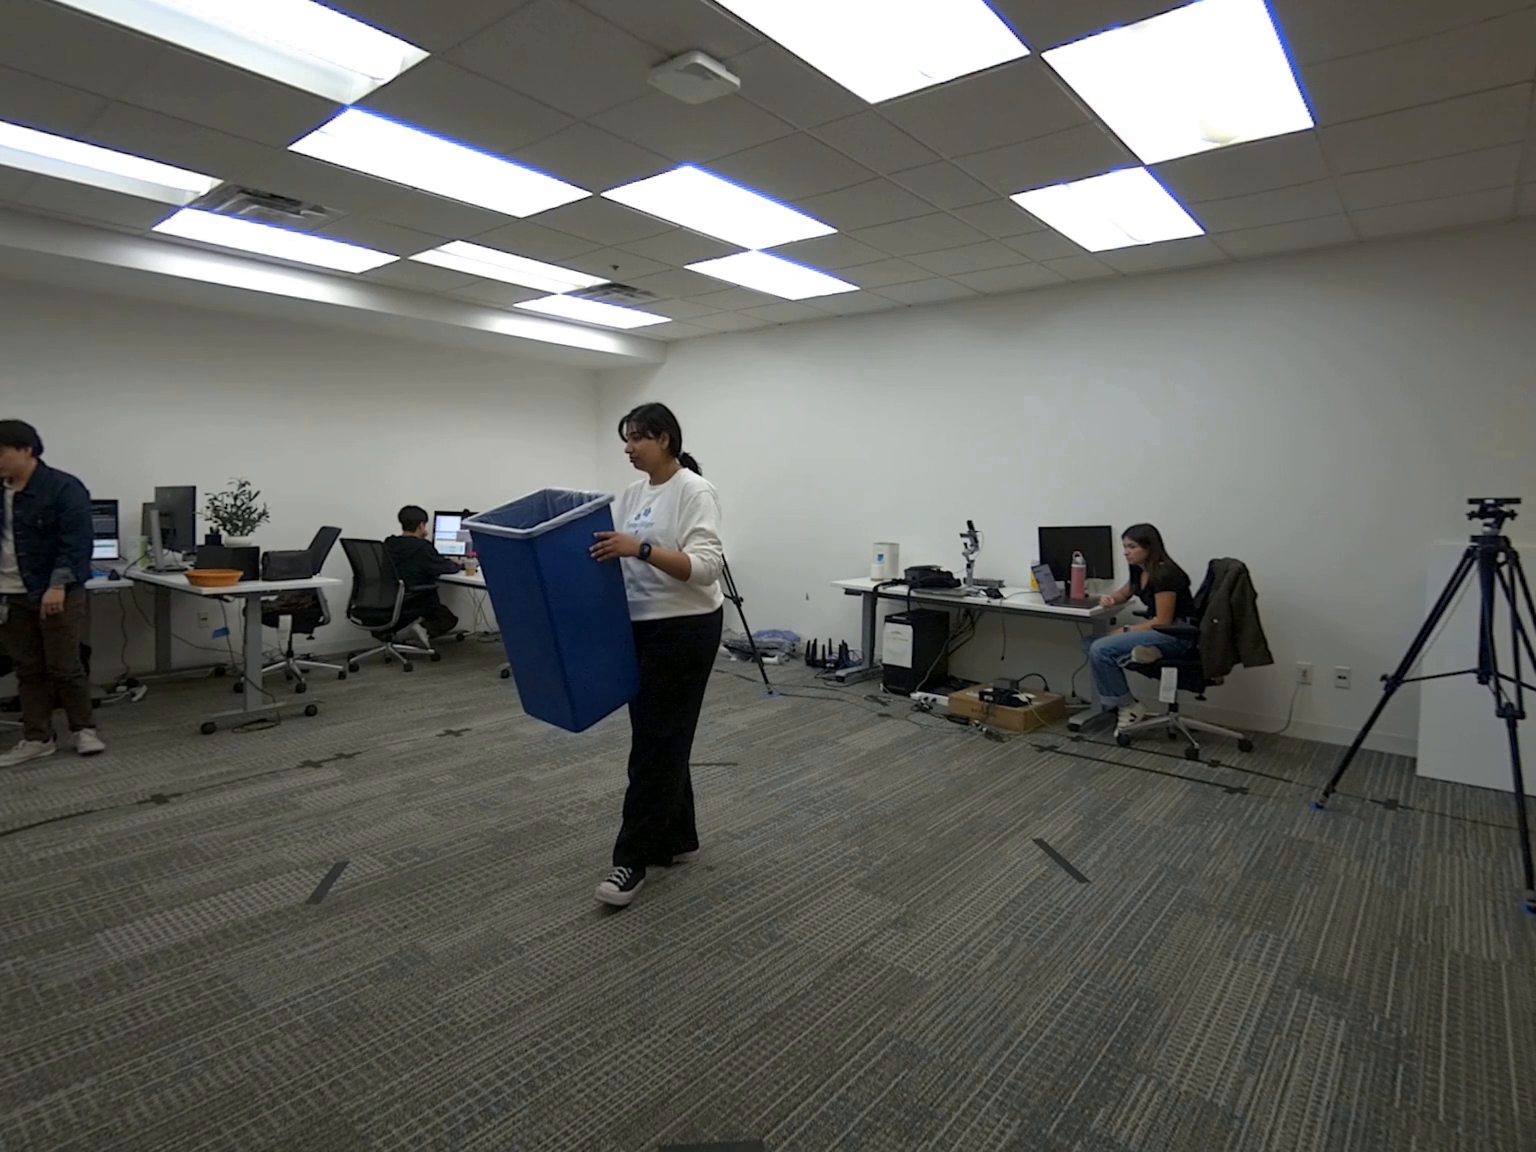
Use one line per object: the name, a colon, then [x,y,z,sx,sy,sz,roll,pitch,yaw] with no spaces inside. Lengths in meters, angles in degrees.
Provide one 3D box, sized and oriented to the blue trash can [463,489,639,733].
blue trash can: [-0.700,0.105,2.804,0.390,0.700,0.369,6,23,35]
